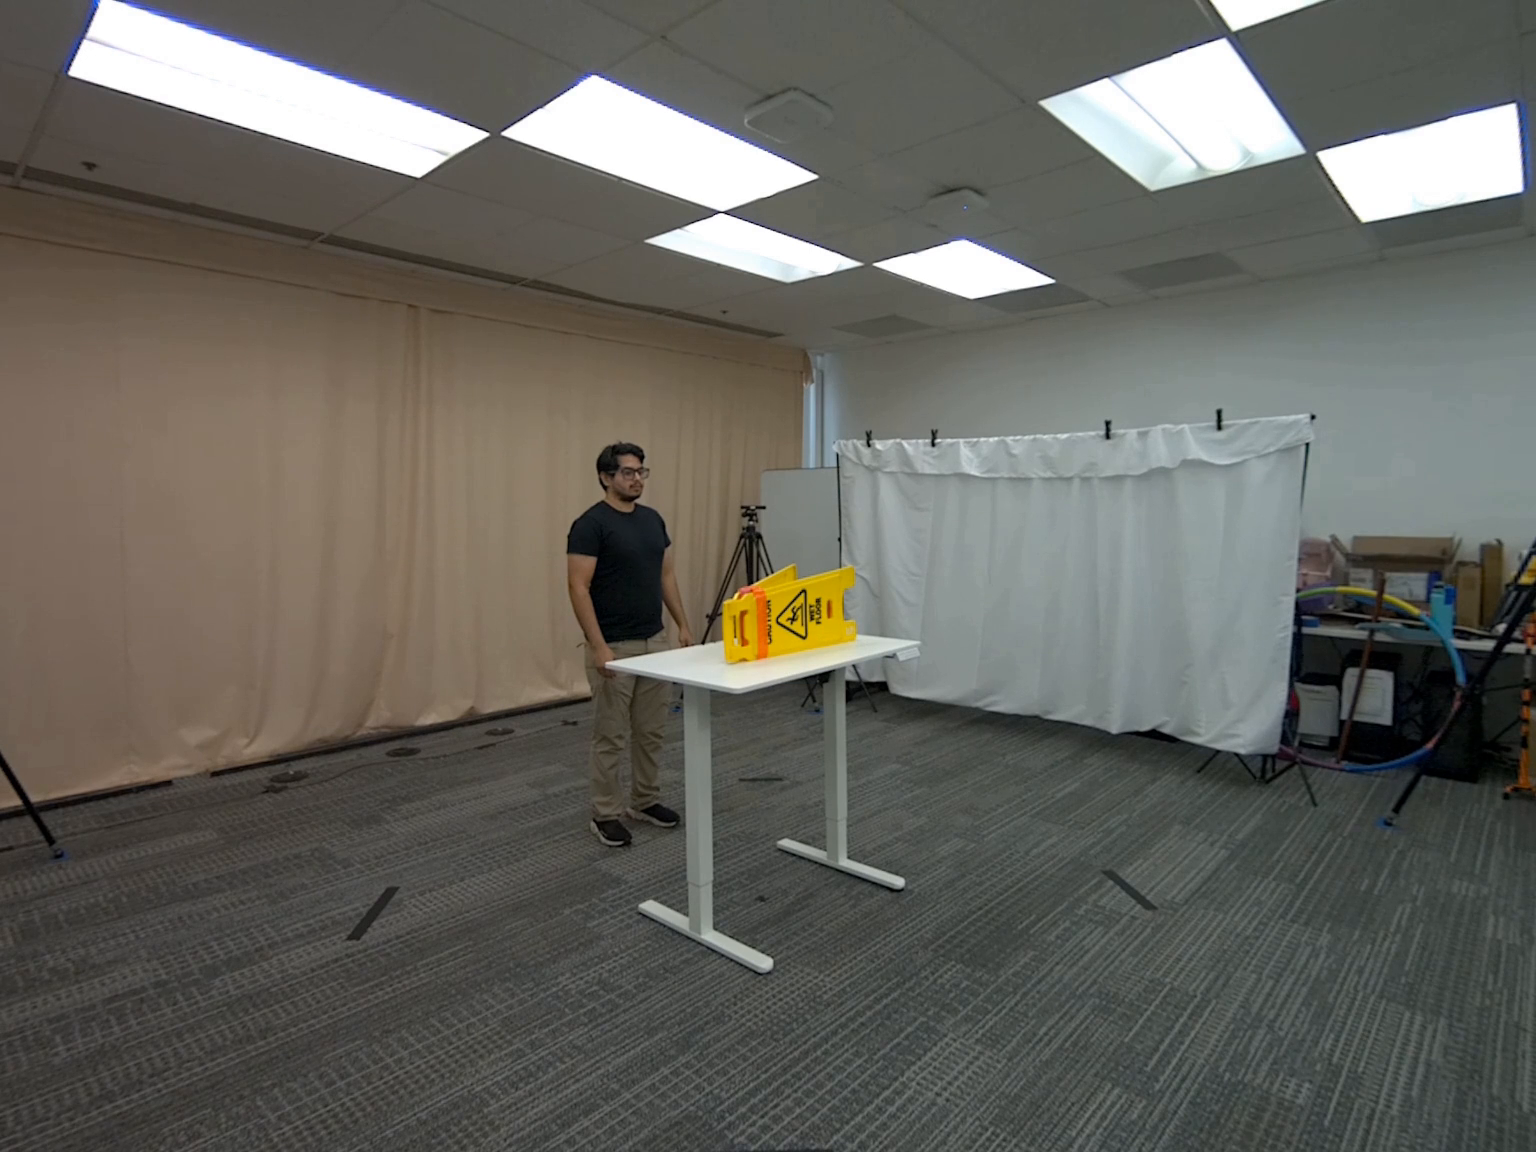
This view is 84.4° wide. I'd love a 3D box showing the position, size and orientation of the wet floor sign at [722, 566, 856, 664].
[{"bbox_3d":[0.050,0.140,2.953,0.299,0.281,0.629,2,8,34],"label":"wet floor sign"}]
